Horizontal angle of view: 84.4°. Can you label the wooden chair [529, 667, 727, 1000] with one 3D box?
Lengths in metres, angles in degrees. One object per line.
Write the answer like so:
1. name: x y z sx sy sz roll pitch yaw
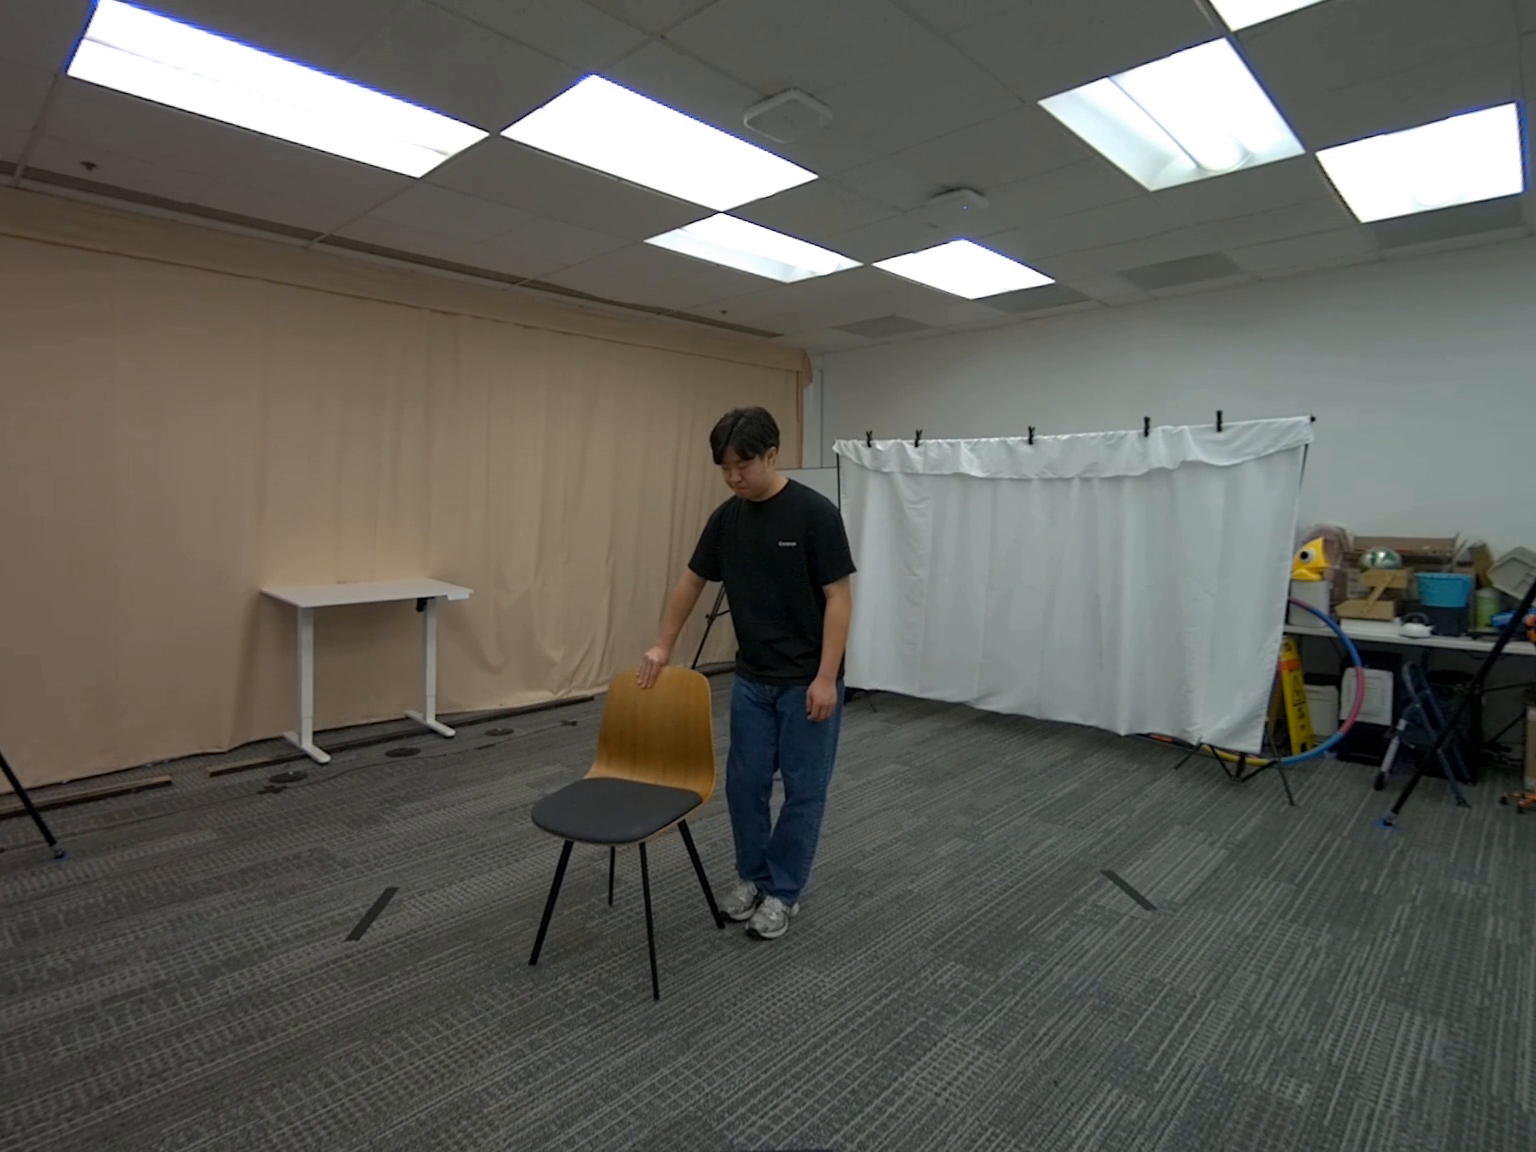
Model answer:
1. wooden chair: -0.436 0.751 2.631 0.490 0.878 0.510 1 -1 25
